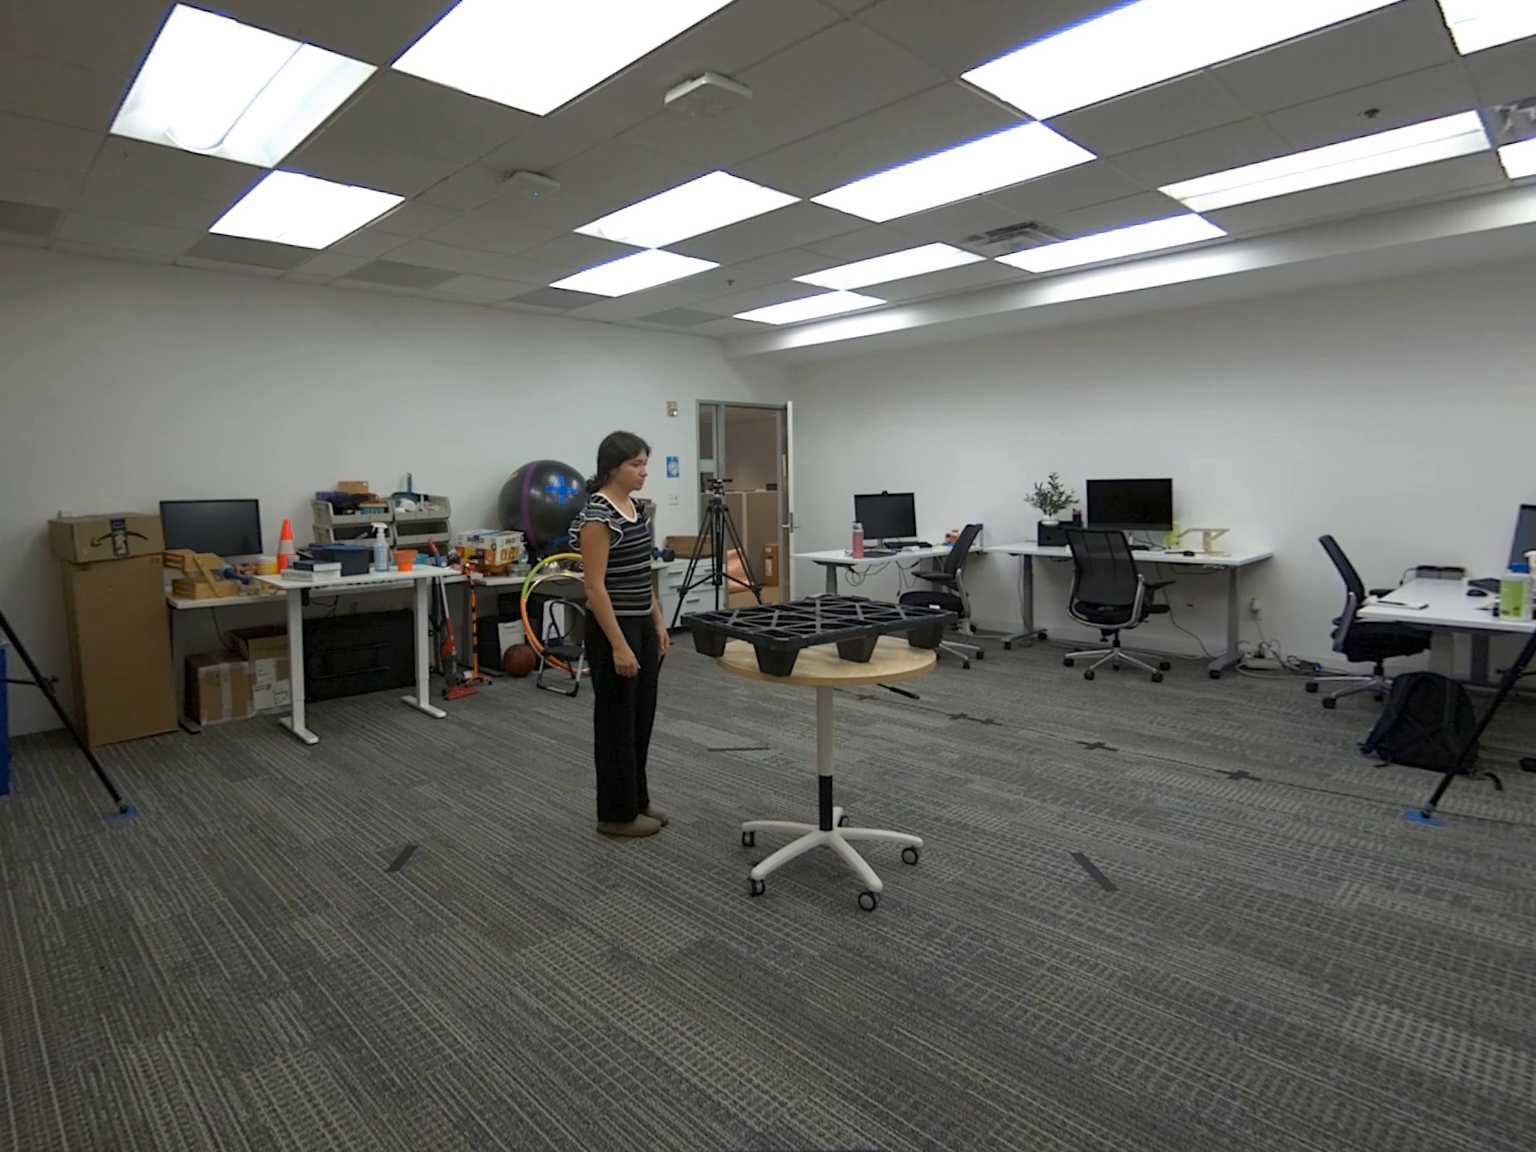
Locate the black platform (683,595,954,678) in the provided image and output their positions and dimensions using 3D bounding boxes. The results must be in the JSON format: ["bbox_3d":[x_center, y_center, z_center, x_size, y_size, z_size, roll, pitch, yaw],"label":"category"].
[{"bbox_3d":[0.185,0.201,3.033,0.785,0.142,0.624,-6,9,-35],"label":"black platform"}]
